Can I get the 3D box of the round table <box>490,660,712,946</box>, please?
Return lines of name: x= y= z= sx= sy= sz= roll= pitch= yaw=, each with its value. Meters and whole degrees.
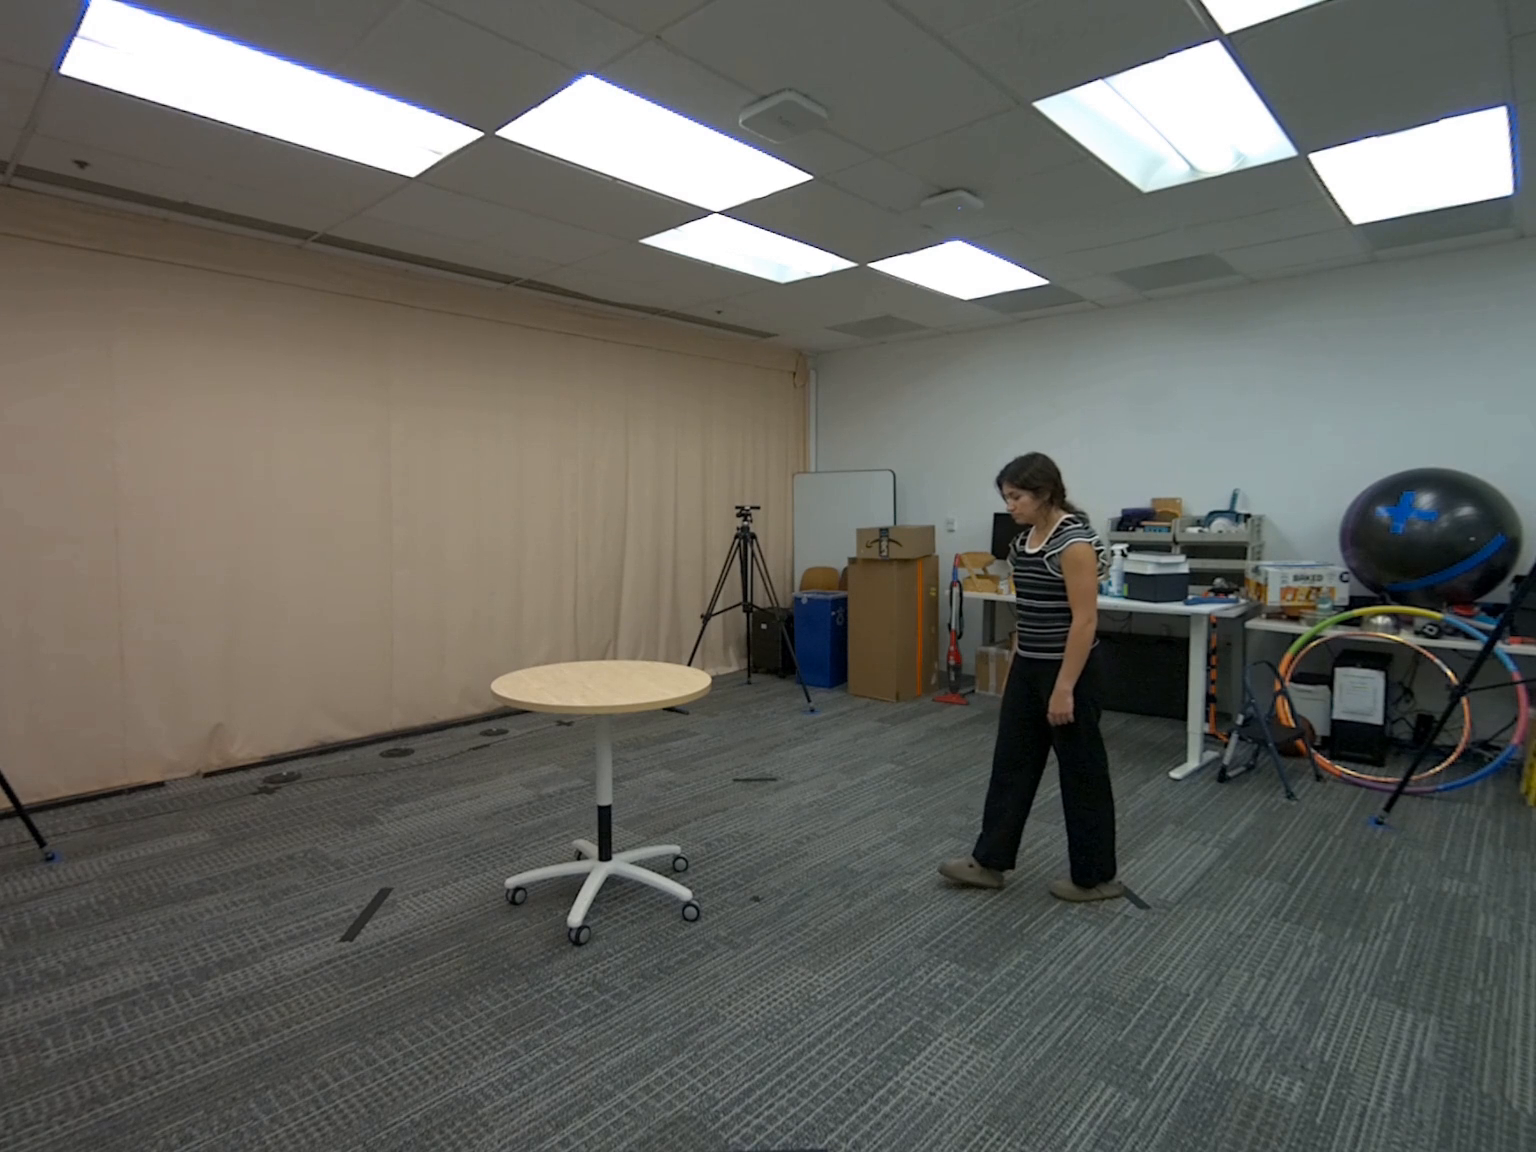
round table: x=-0.578 y=0.767 z=2.982 sx=0.763 sy=0.792 sz=0.766 roll=0 pitch=3 yaw=-2
